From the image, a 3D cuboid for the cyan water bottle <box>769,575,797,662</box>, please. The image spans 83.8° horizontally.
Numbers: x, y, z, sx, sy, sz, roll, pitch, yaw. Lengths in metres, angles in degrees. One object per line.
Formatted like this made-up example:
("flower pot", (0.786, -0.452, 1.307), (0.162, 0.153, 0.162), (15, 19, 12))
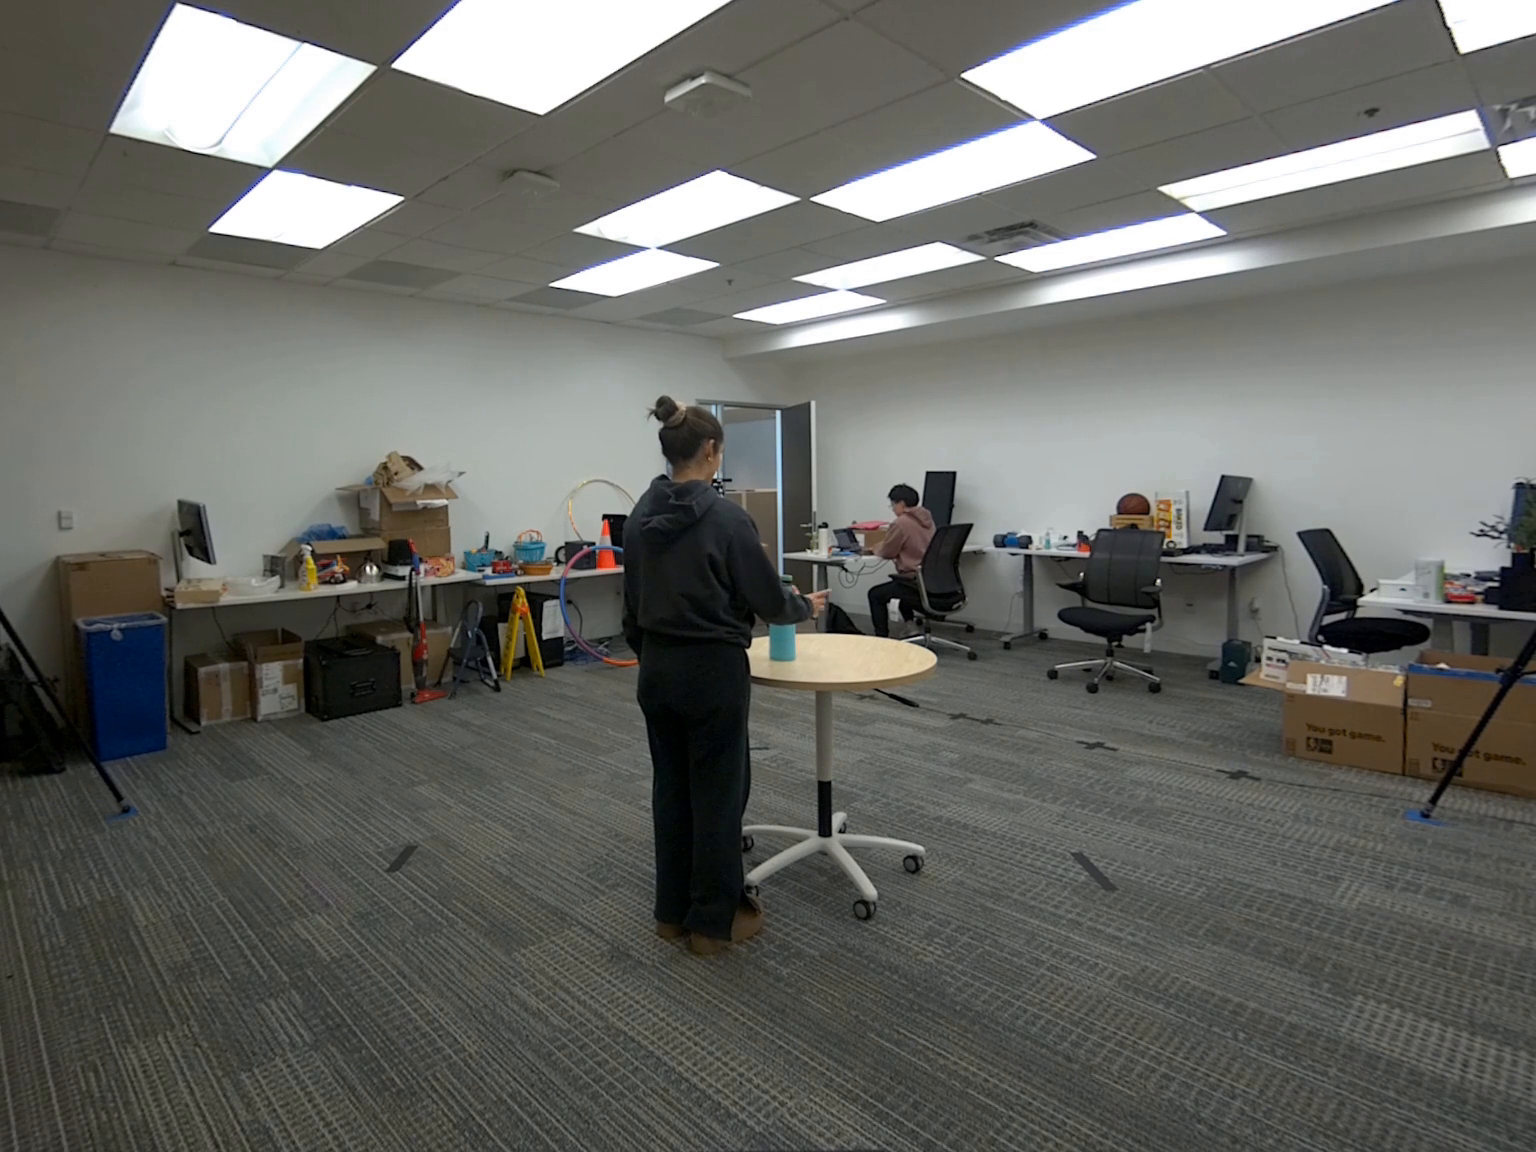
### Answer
("cyan water bottle", (0.049, 0.146, 2.896), (0.092, 0.282, 0.093), (-3, 4, -1))
